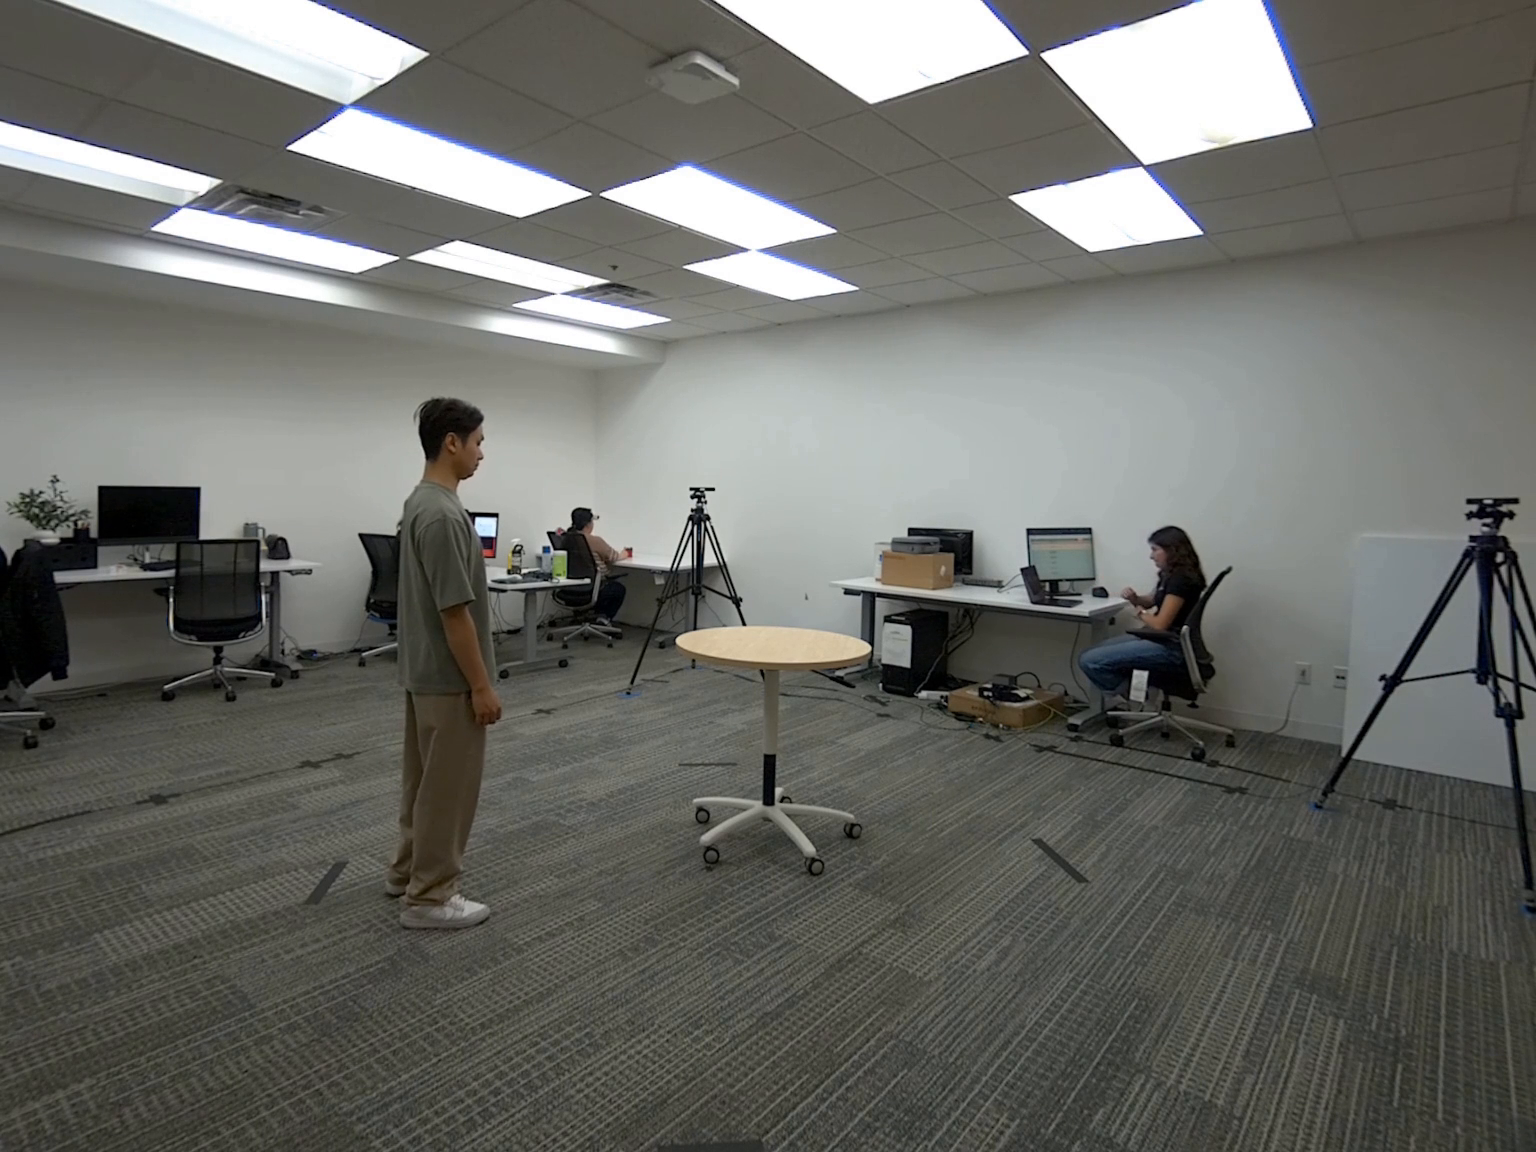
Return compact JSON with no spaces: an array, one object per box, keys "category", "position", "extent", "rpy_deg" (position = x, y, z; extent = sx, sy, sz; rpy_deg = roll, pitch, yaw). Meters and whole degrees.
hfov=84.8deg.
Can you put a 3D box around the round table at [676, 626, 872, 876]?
[{"category":"round table","position":[-0.010,0.648,3.381],"extent":[0.784,0.784,0.789],"rpy_deg":[2,4,-2]}]
